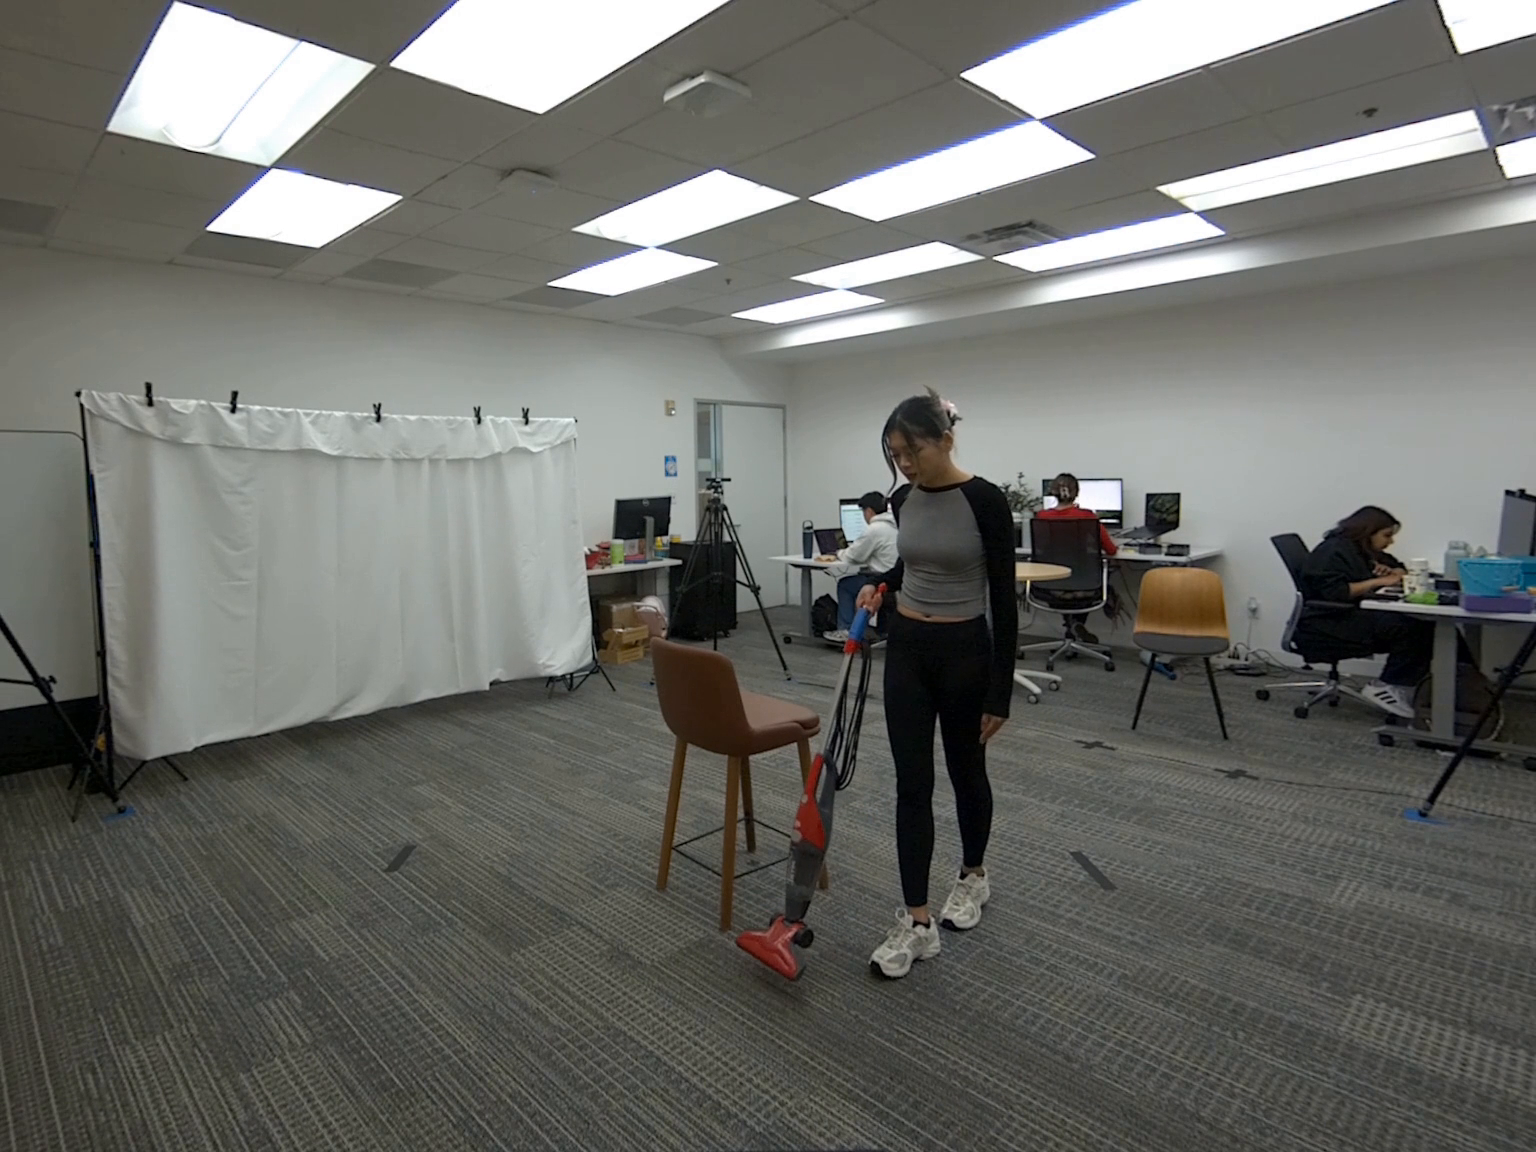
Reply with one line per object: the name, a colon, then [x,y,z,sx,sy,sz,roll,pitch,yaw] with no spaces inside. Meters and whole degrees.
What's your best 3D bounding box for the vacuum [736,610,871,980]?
vacuum: [0.187,0.538,2.459,0.260,1.057,0.138,2,-18,45]
